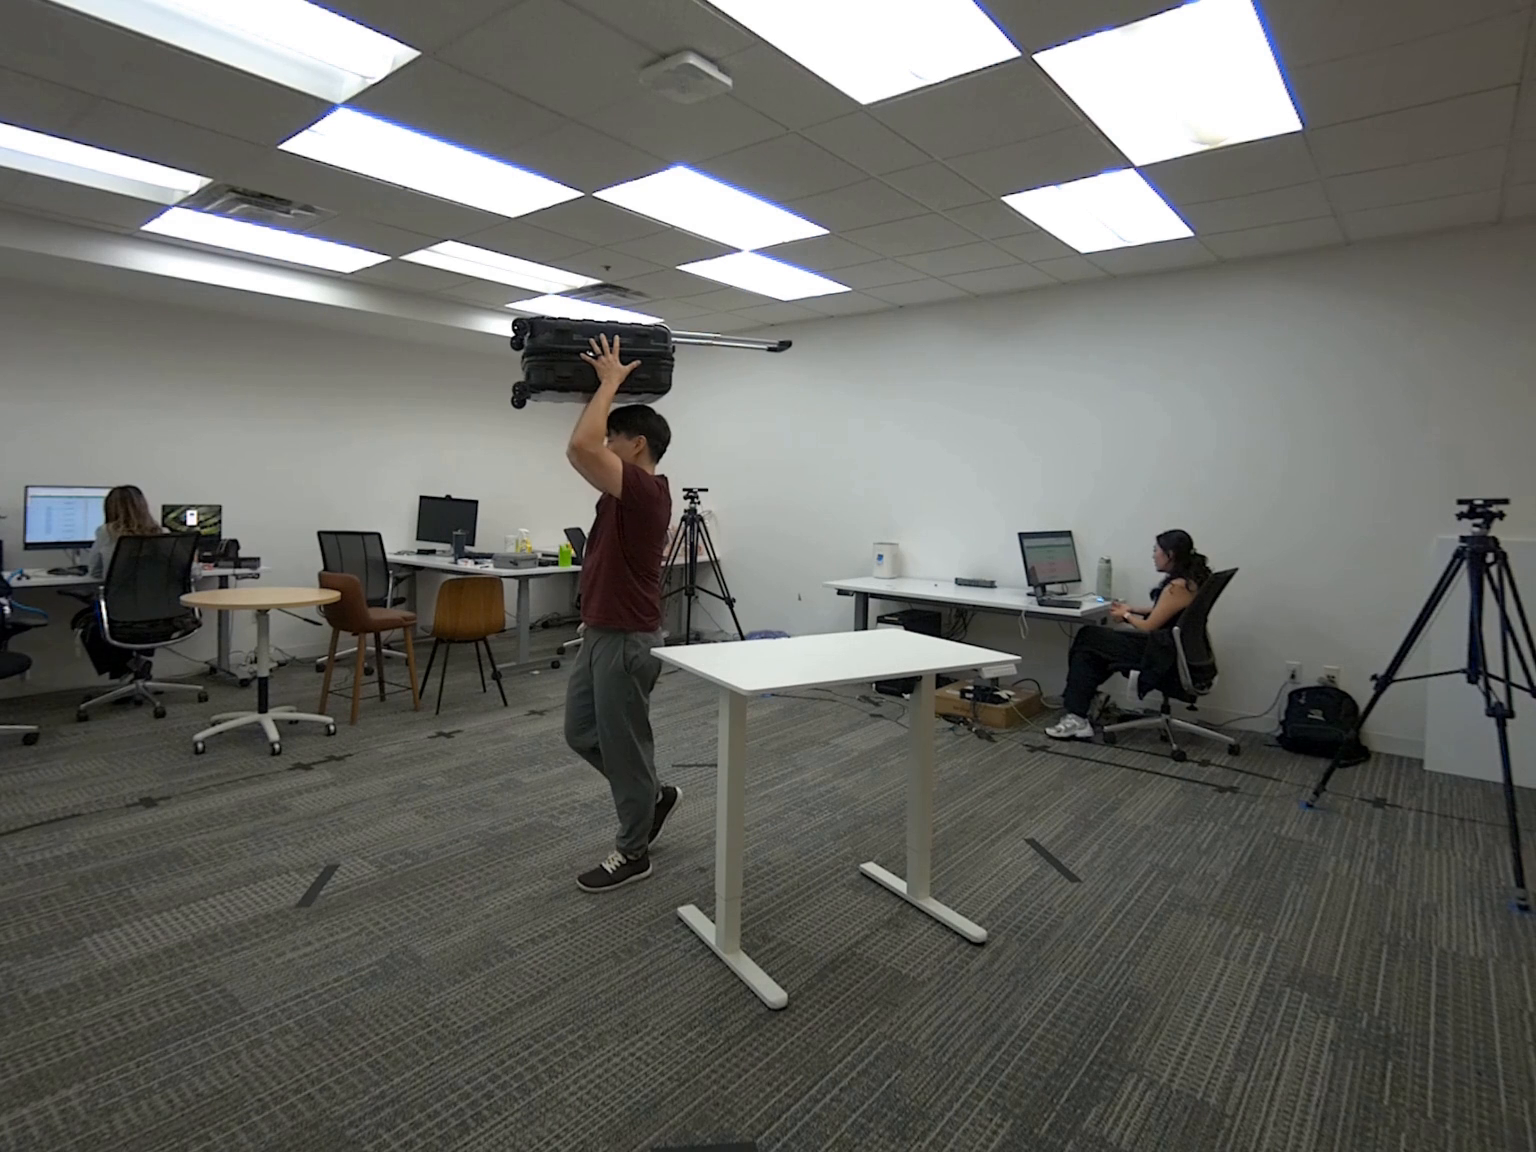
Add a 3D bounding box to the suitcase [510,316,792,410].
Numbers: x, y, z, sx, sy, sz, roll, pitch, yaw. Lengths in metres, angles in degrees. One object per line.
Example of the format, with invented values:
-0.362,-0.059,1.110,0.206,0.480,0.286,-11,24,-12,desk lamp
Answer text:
-0.428,-0.751,3.013,0.964,0.256,0.391,0,3,-15,suitcase
